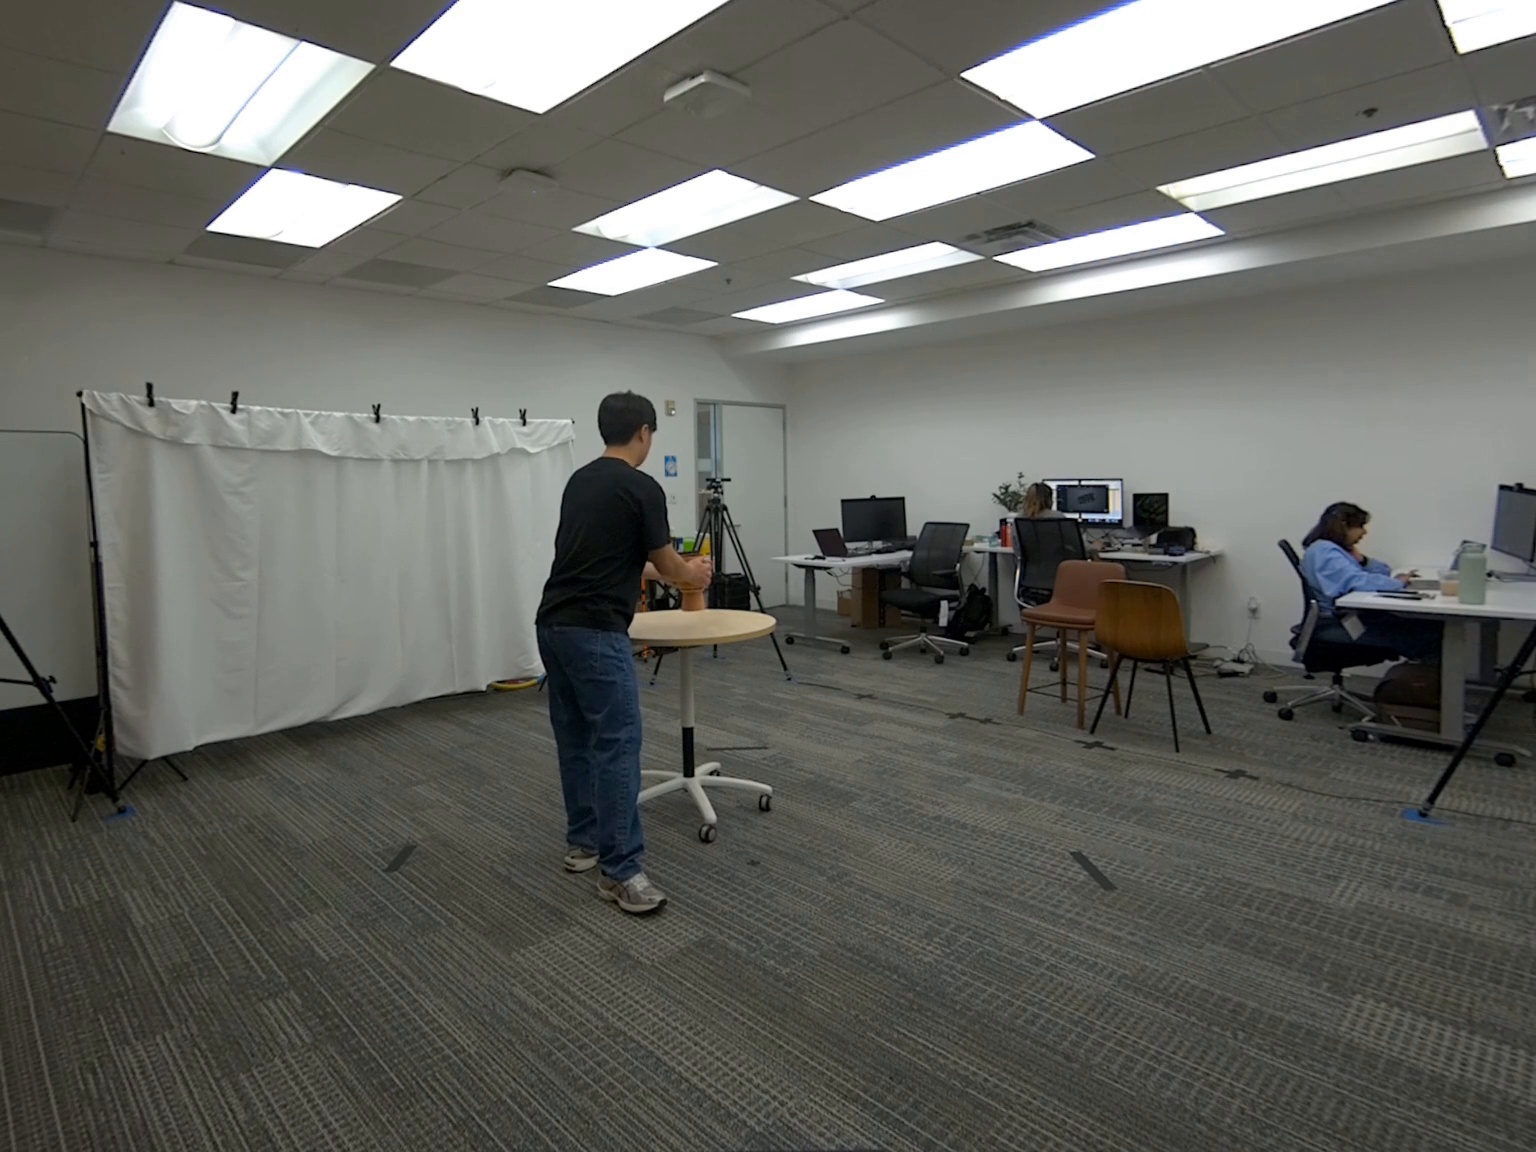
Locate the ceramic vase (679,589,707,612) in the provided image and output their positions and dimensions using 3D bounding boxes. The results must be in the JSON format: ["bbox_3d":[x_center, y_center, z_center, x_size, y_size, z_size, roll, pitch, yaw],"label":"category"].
[{"bbox_3d":[-0.320,0.031,3.450,0.162,0.218,0.133,-1,7,21],"label":"ceramic vase"}]
